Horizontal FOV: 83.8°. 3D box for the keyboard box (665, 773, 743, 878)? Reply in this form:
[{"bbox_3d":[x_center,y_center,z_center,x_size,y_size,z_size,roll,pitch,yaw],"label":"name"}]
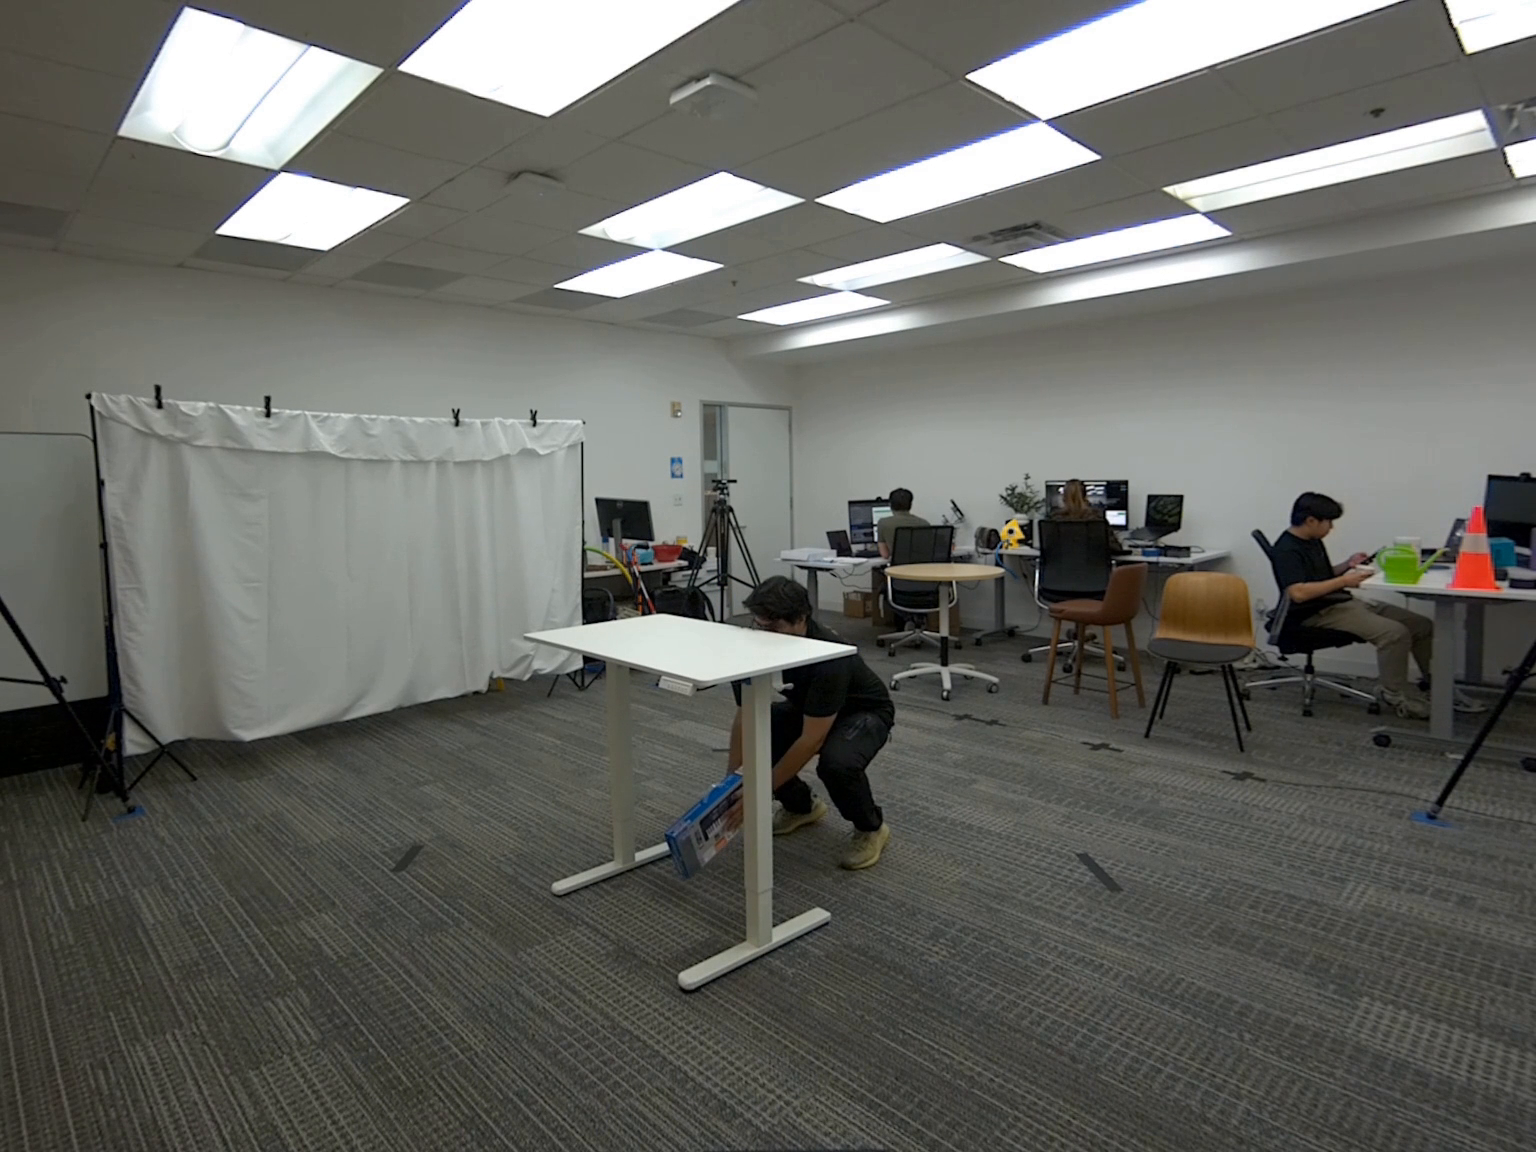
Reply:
[{"bbox_3d":[-0.158,0.818,2.890,0.061,0.172,0.432,7,31,45],"label":"keyboard box"}]
